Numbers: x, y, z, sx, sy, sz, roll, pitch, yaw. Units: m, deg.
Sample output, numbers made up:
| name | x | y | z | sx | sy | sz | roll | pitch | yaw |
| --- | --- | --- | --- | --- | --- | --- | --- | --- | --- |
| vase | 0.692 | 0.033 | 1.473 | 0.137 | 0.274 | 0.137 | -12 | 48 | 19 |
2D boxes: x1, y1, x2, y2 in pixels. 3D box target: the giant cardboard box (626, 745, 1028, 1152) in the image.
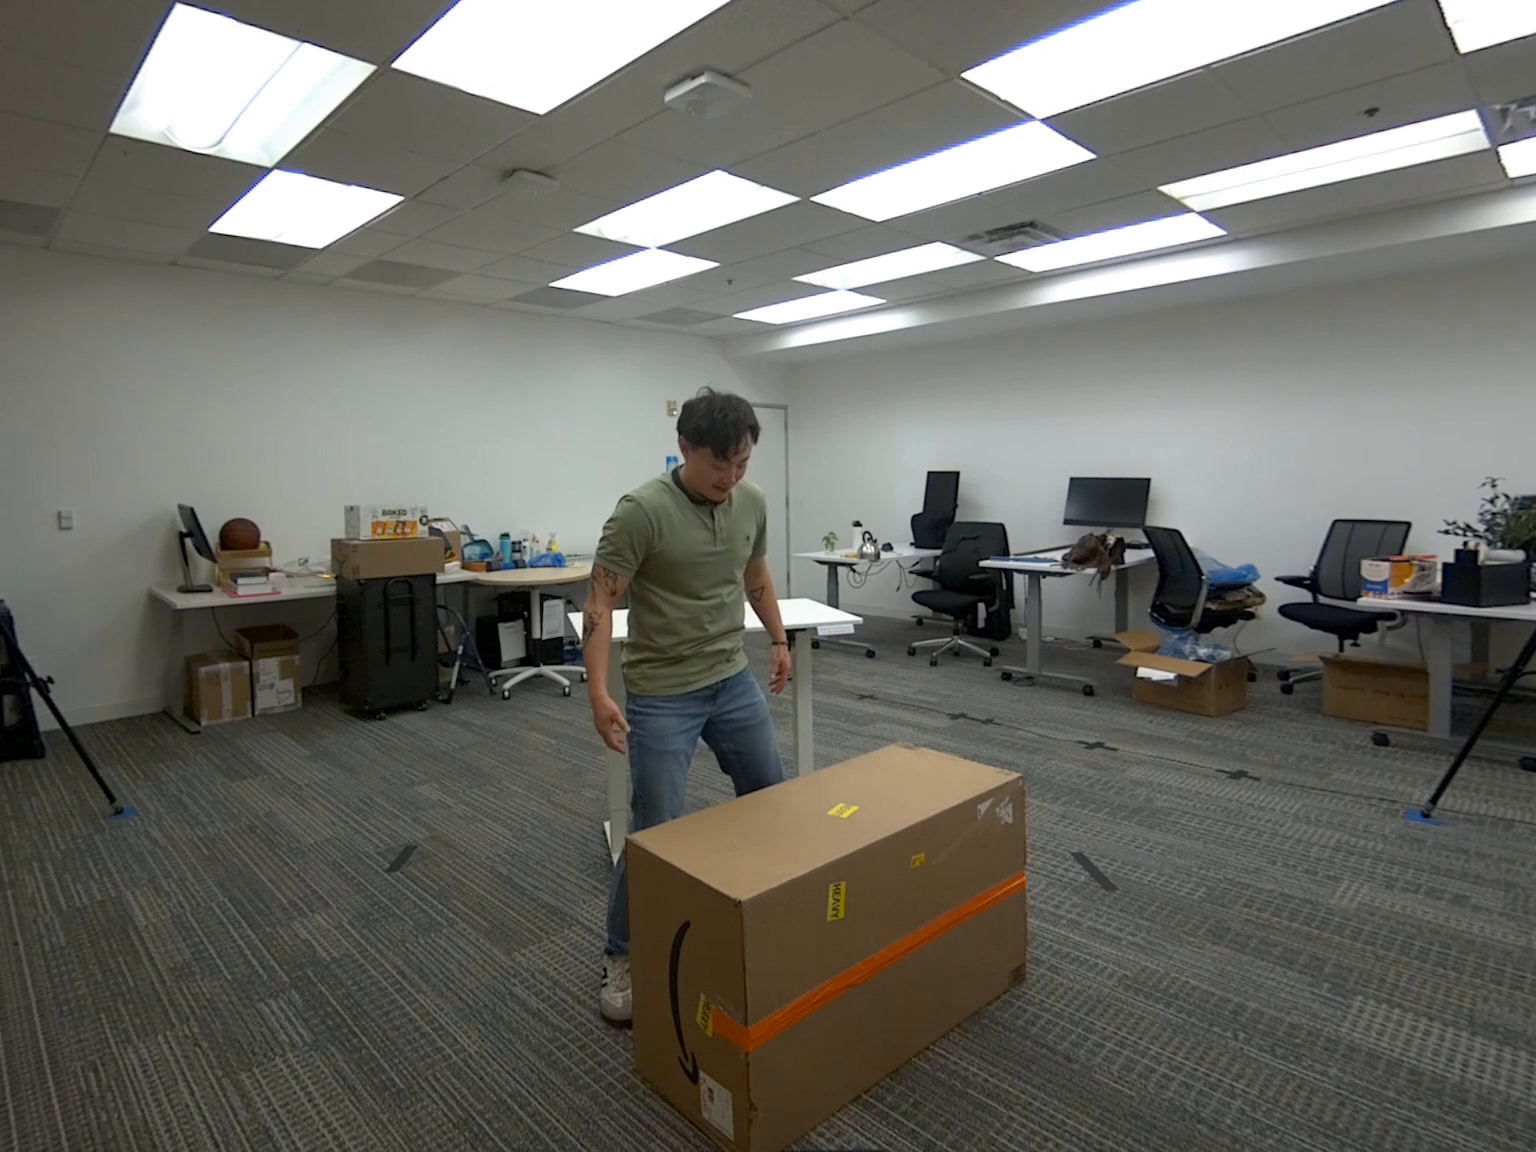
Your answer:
| name | x | y | z | sx | sy | sz | roll | pitch | yaw |
| --- | --- | --- | --- | --- | --- | --- | --- | --- | --- |
| giant cardboard box | 0.194 | 0.863 | 2.180 | 1.000 | 0.575 | 0.439 | -7 | 7 | -41 |
